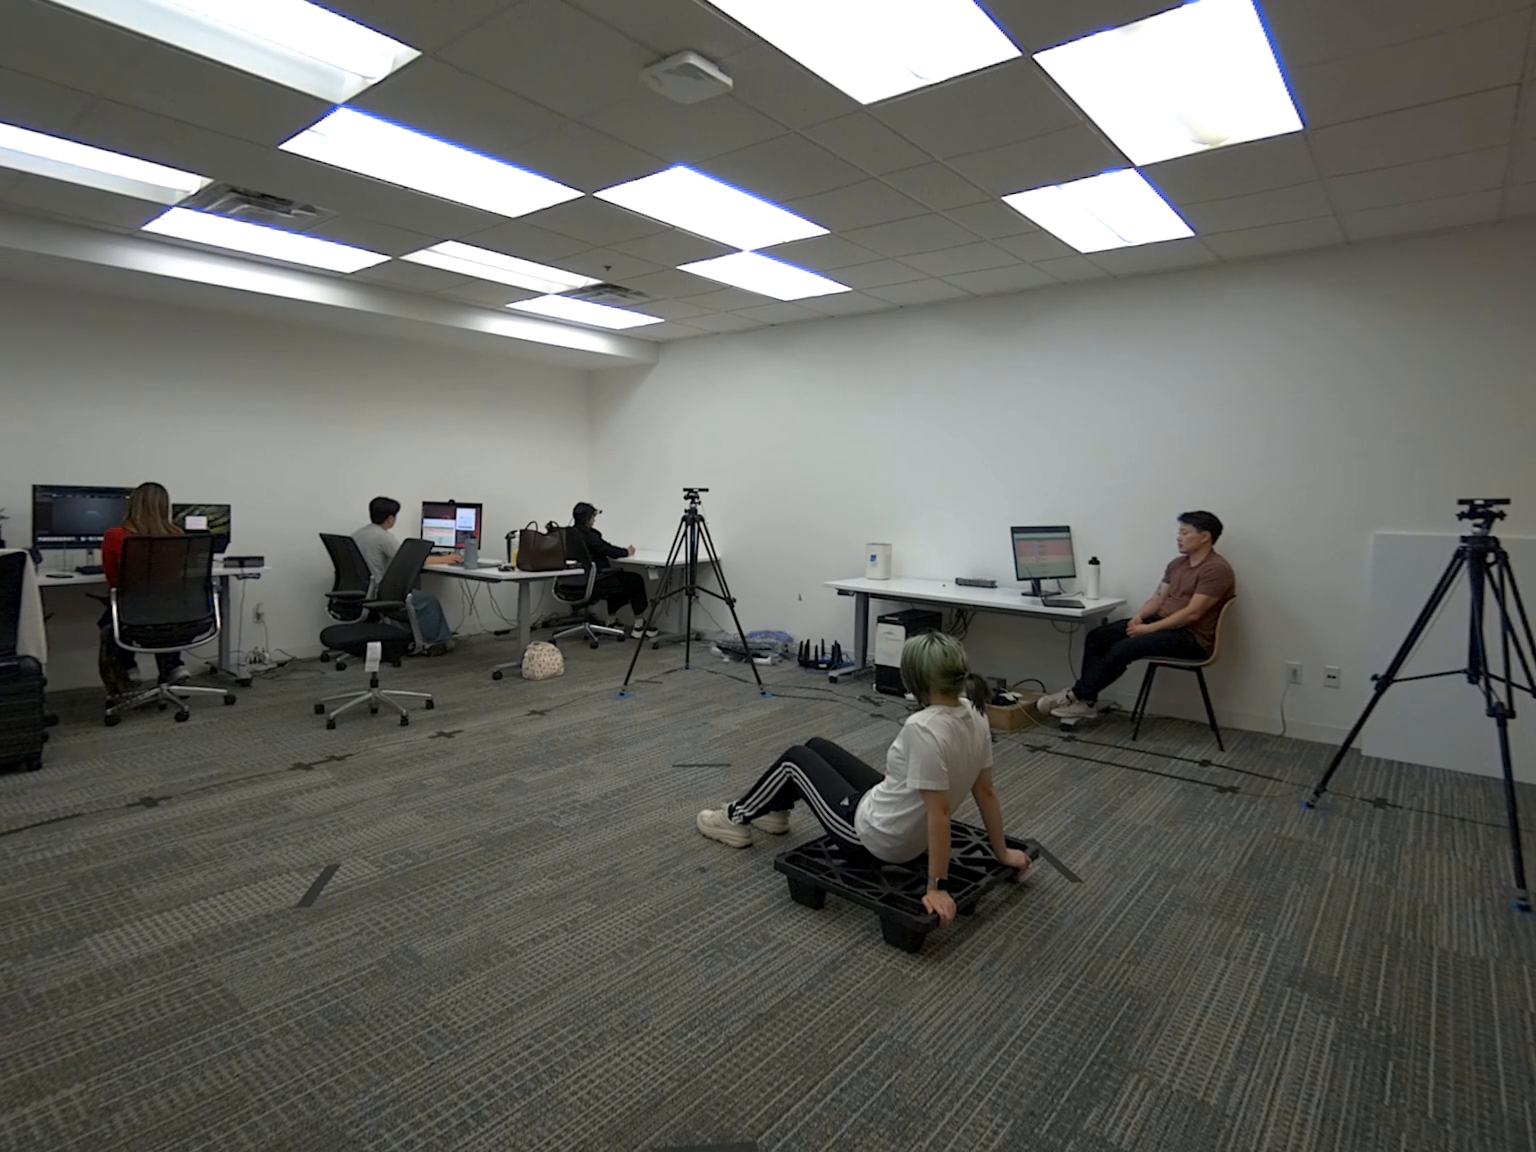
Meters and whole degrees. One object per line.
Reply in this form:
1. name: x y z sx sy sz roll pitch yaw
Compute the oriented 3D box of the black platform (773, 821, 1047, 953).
1. black platform: 0.487 1.030 2.981 0.626 0.143 0.781 6 7 43
